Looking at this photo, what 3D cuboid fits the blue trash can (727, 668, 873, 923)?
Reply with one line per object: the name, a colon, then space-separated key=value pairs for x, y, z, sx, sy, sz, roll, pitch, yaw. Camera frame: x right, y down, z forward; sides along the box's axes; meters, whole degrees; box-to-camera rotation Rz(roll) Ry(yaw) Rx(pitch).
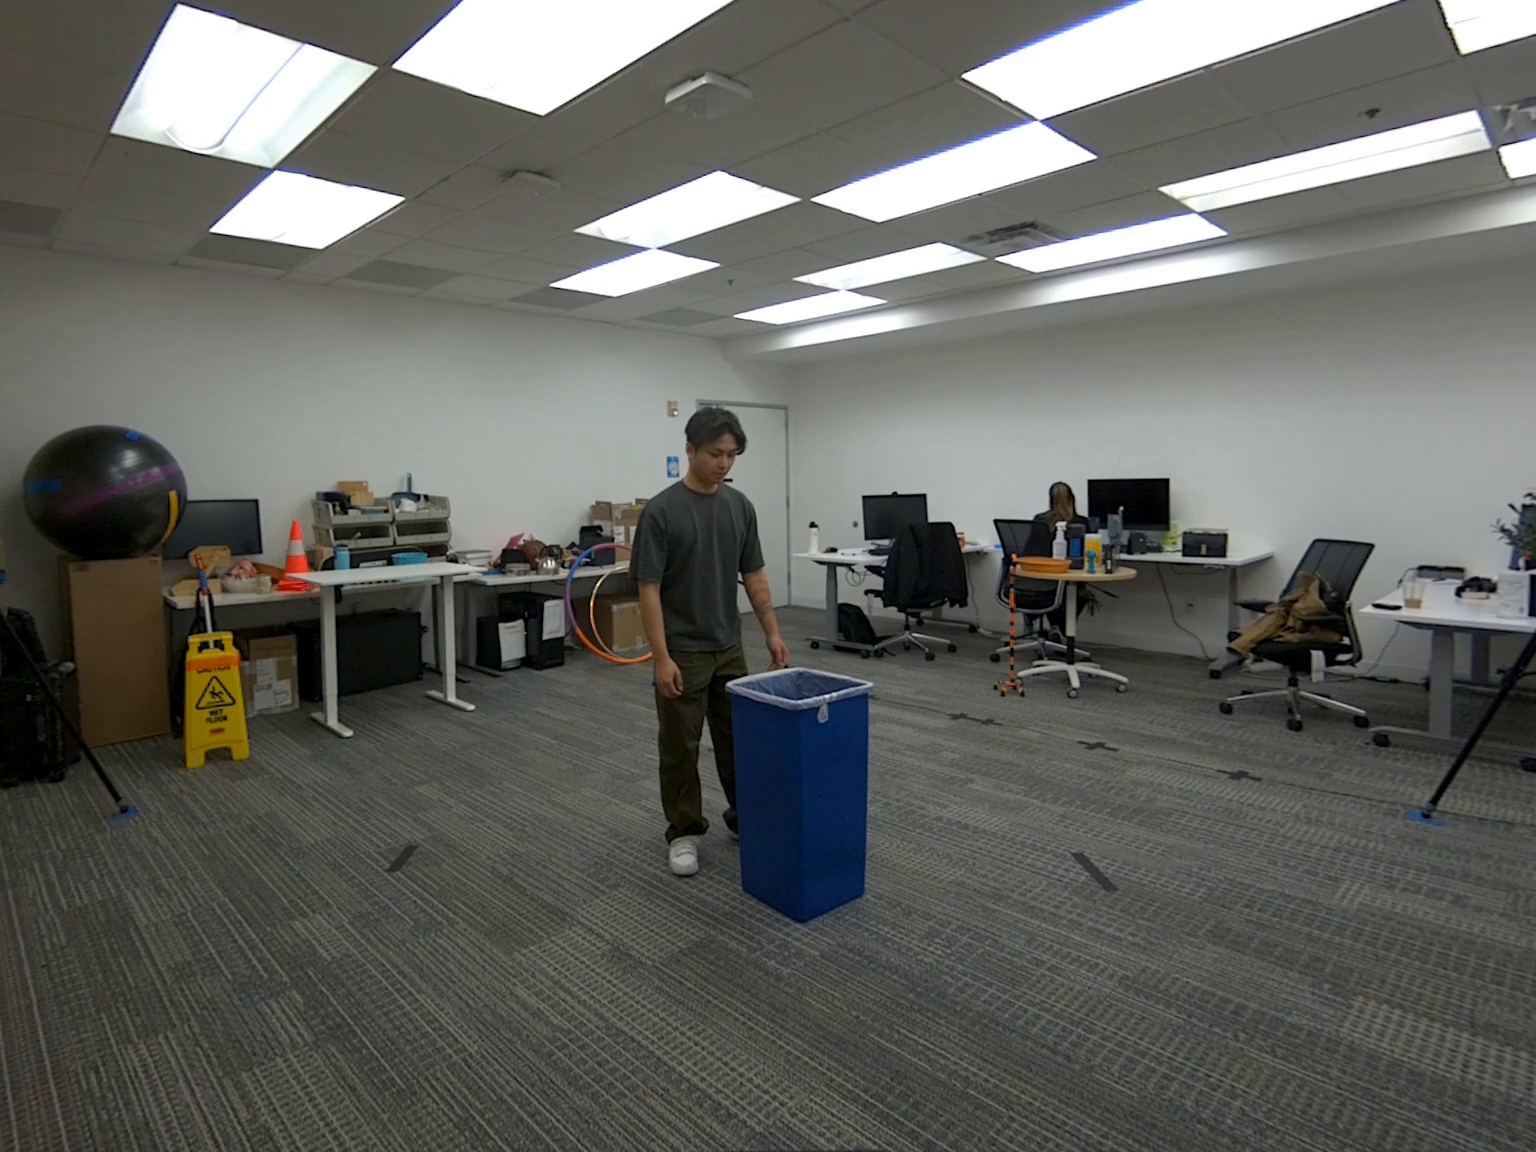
blue trash can: x=0.118 y=0.711 z=2.868 sx=0.364 sy=0.711 sz=0.389 roll=-5 pitch=5 yaw=-41
